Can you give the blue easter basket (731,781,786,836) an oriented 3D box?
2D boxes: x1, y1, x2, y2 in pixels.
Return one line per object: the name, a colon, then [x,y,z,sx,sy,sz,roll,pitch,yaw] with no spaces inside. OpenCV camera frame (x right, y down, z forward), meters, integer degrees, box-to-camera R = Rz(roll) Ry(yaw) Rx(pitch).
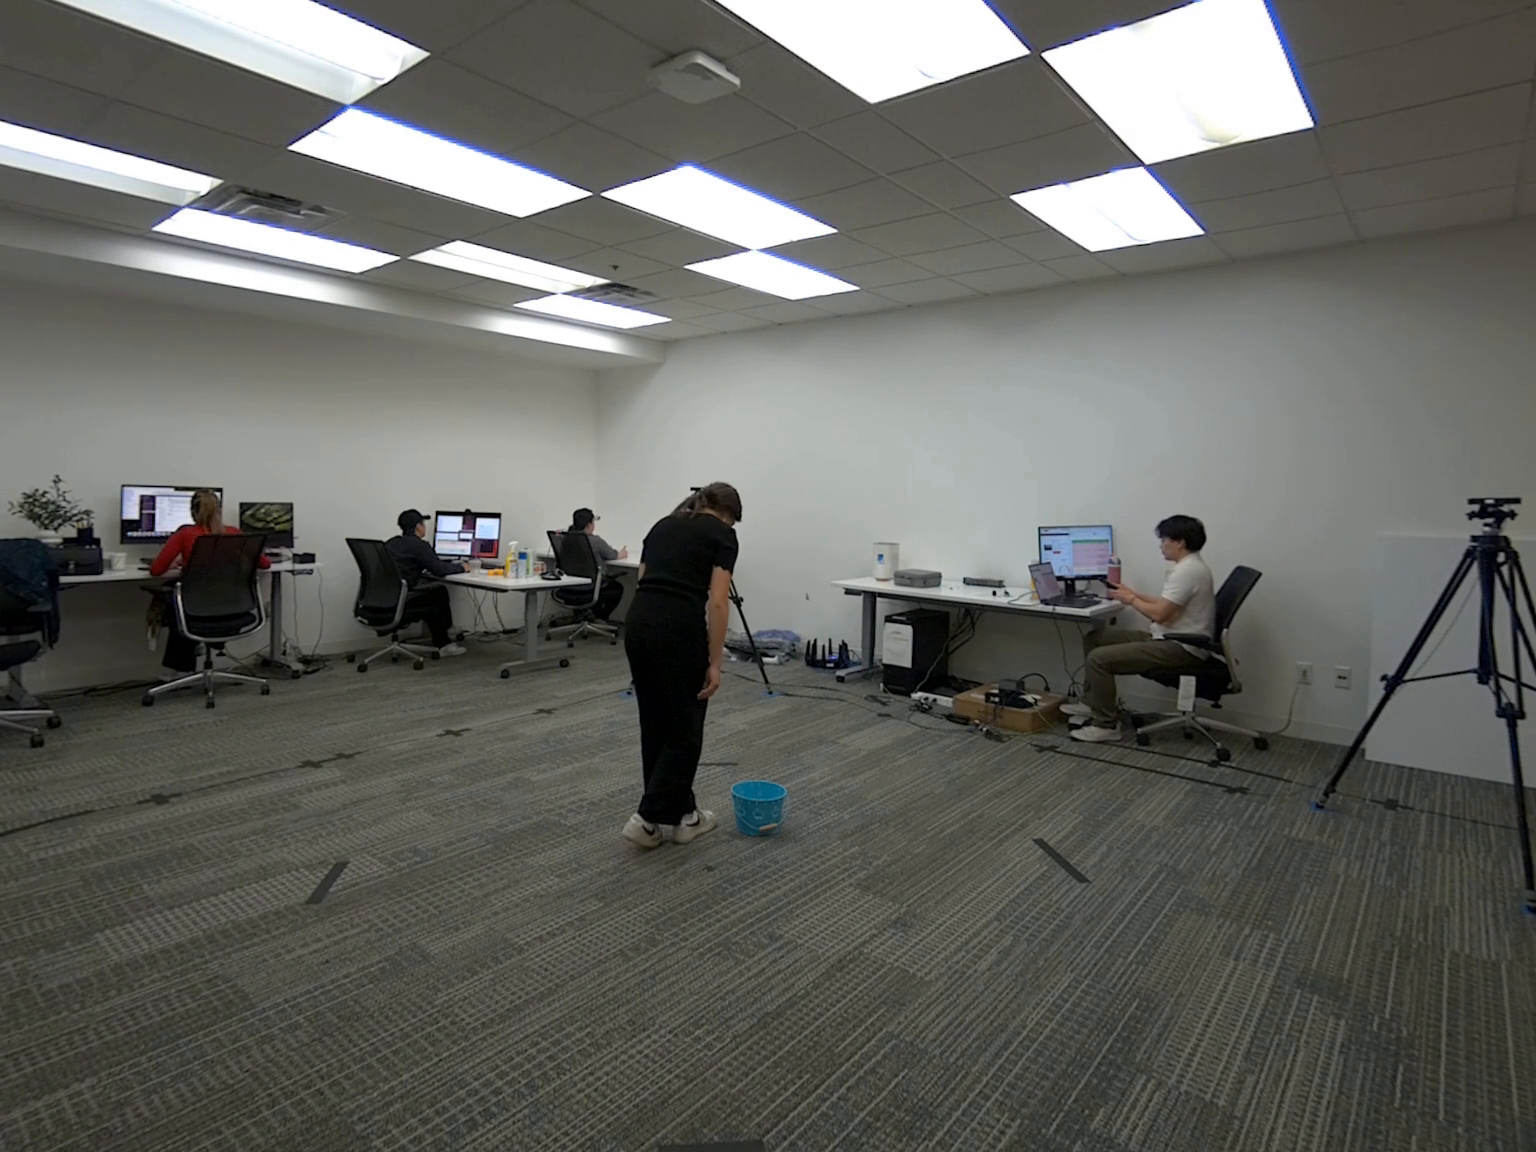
blue easter basket: [-0.047,0.954,3.500,0.243,0.155,0.245,1,4,-2]
